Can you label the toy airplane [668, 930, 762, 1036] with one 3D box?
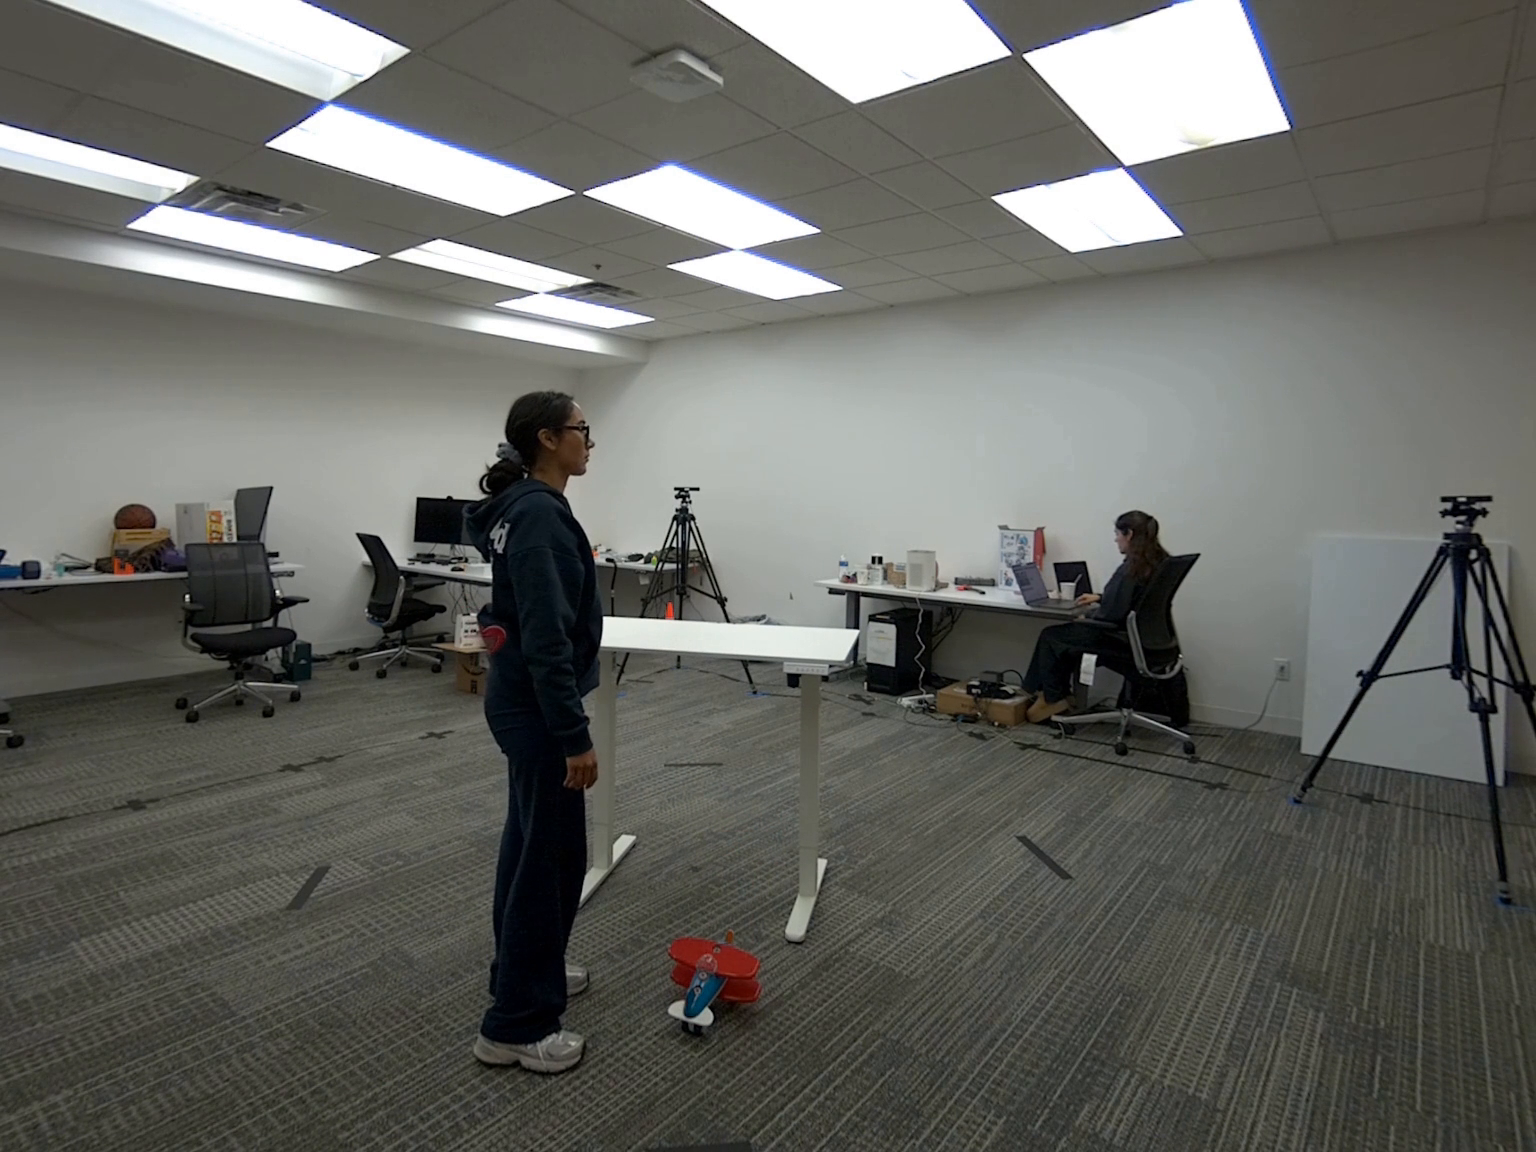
[{"bbox_3d":[-0.130,1.083,2.245,0.249,0.156,0.262,0,5,-9],"label":"toy airplane"}]
